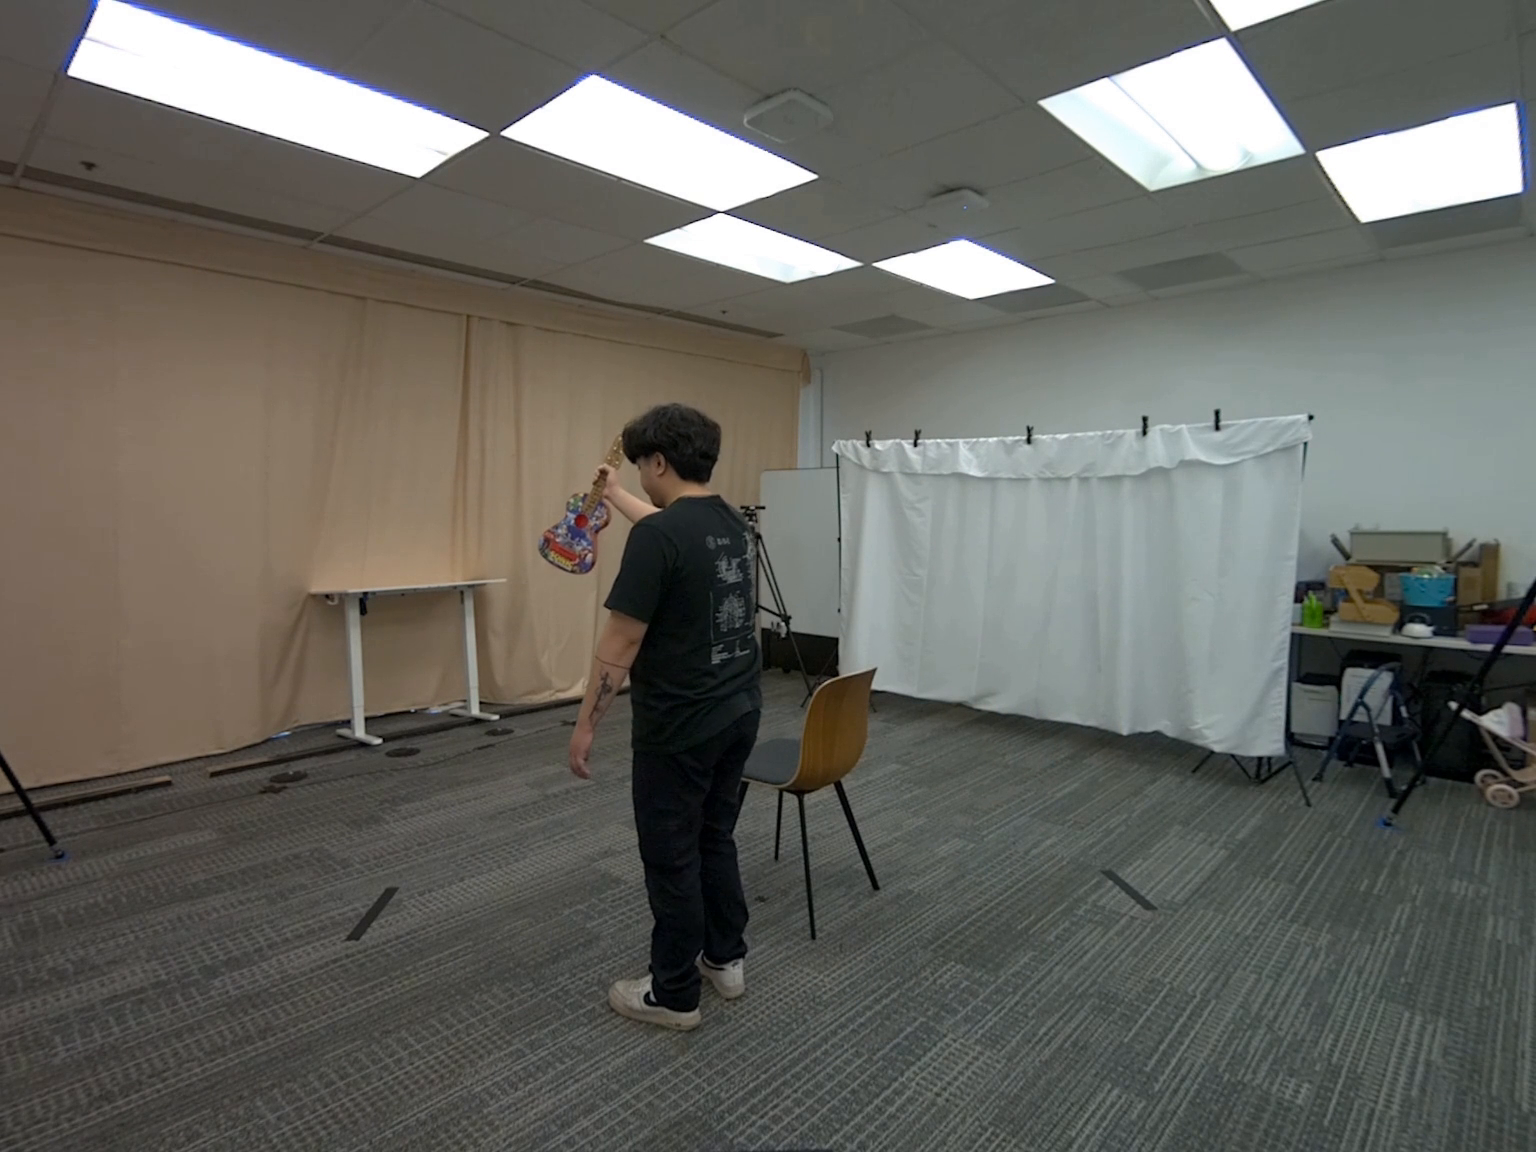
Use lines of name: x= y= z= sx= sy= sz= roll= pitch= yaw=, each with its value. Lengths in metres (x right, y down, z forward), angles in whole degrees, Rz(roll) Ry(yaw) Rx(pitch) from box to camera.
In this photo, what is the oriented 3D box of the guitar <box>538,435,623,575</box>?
guitar: x=-0.557 y=-0.229 z=2.792 sx=0.194 sy=0.498 sz=0.070 roll=35 pitch=2 yaw=5
